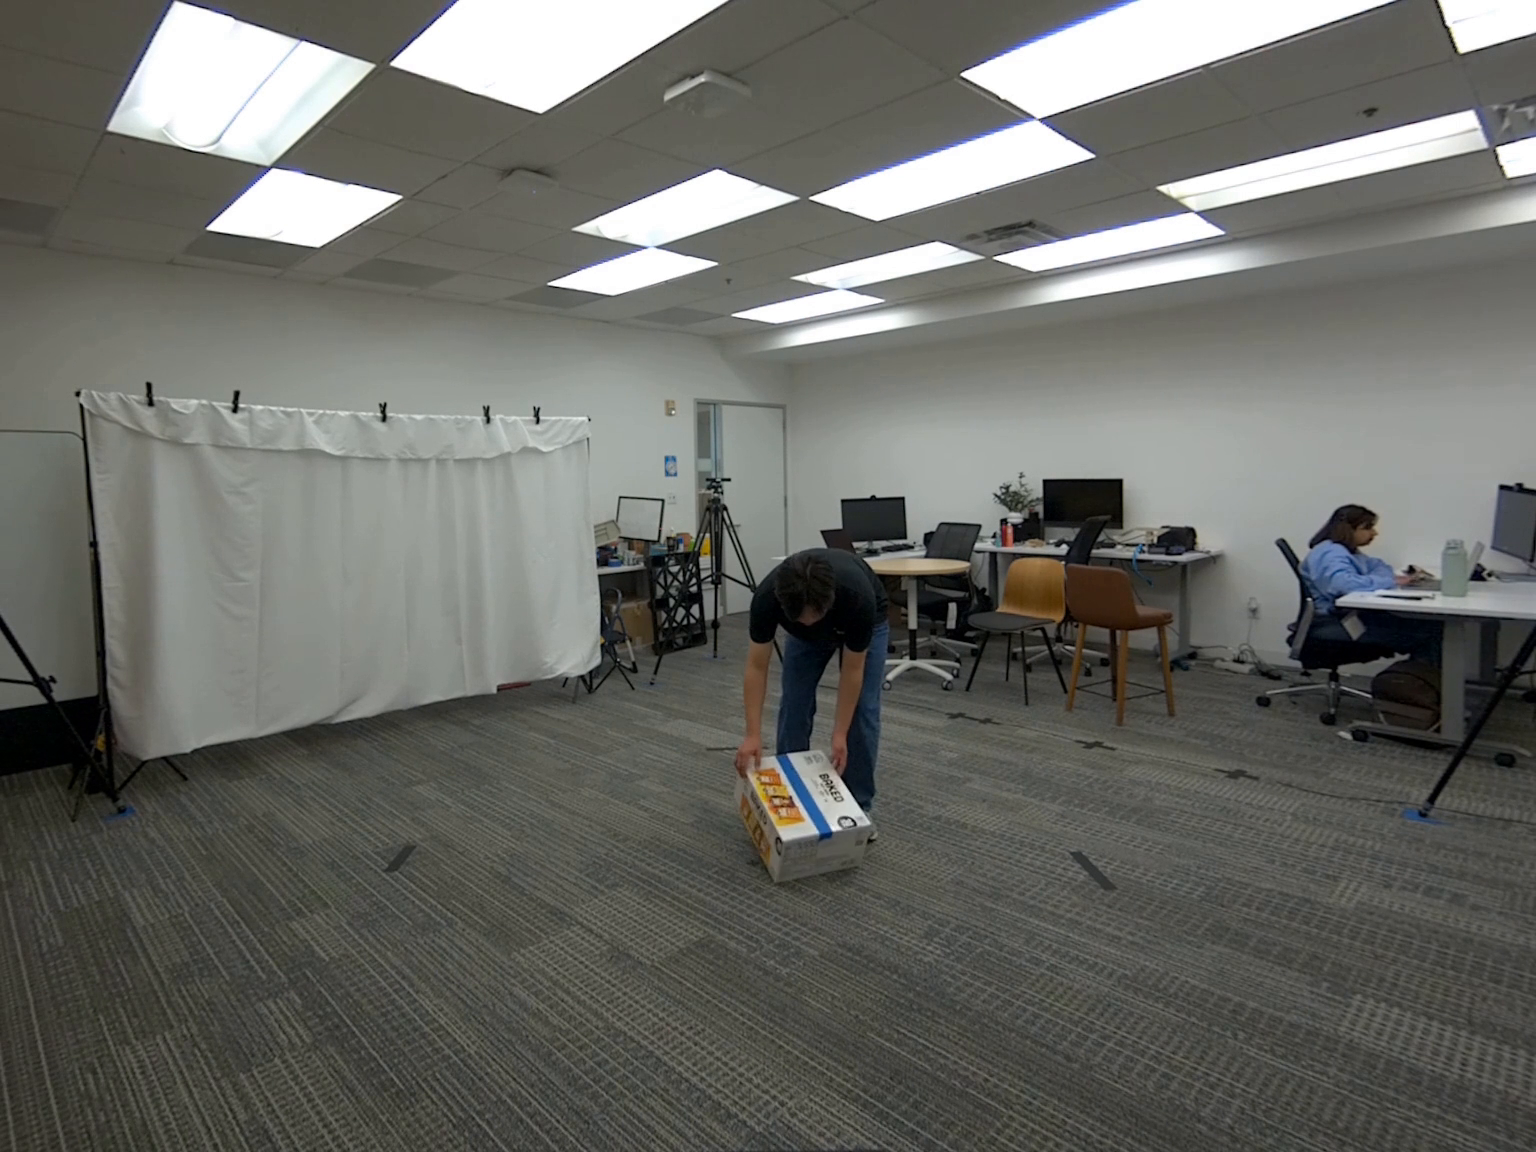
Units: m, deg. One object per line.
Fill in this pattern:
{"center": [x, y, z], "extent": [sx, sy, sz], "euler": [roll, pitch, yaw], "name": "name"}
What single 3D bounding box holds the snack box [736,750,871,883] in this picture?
{"center": [0.119, 0.869, 3.118], "extent": [0.334, 0.202, 0.420], "euler": [-5, 30, -22], "name": "snack box"}
